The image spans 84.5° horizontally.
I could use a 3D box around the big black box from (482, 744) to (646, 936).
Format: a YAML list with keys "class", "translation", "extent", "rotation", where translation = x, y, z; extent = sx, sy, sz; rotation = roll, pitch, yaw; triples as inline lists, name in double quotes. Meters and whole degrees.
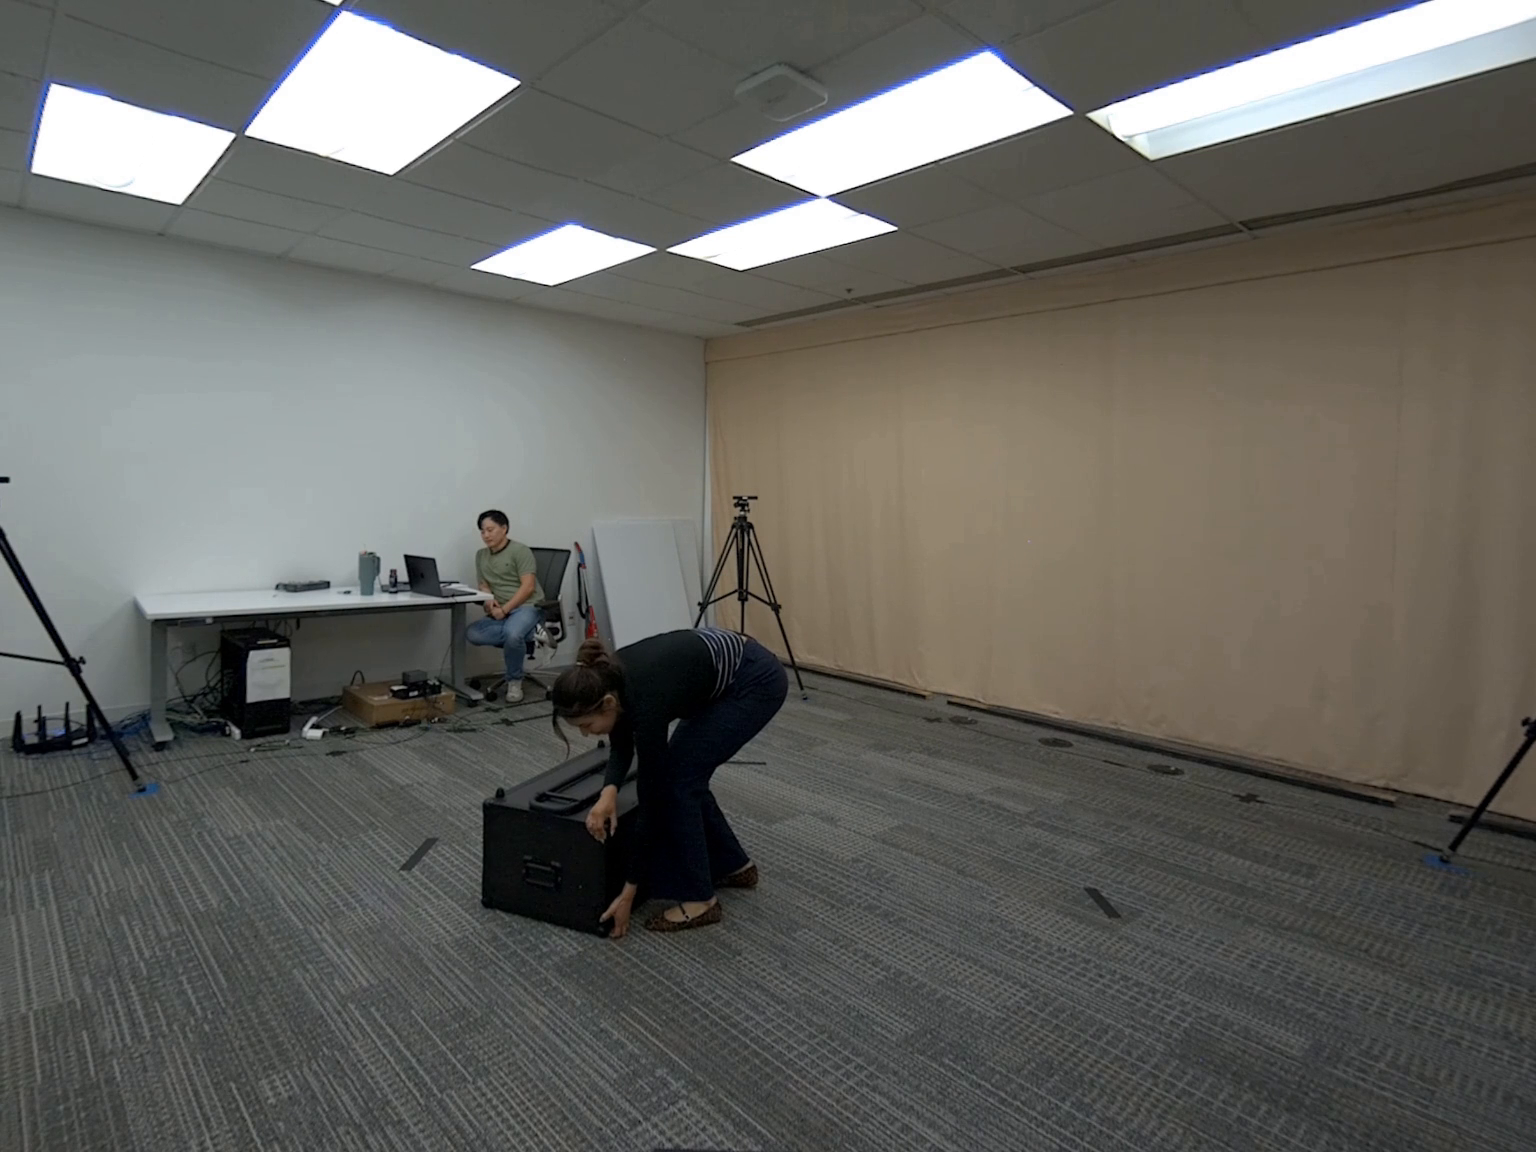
- class: "big black box"
  translation: [-0.587, 0.892, 3.113]
  extent: [0.530, 0.395, 0.848]
  rotation: [3, 4, 22]
